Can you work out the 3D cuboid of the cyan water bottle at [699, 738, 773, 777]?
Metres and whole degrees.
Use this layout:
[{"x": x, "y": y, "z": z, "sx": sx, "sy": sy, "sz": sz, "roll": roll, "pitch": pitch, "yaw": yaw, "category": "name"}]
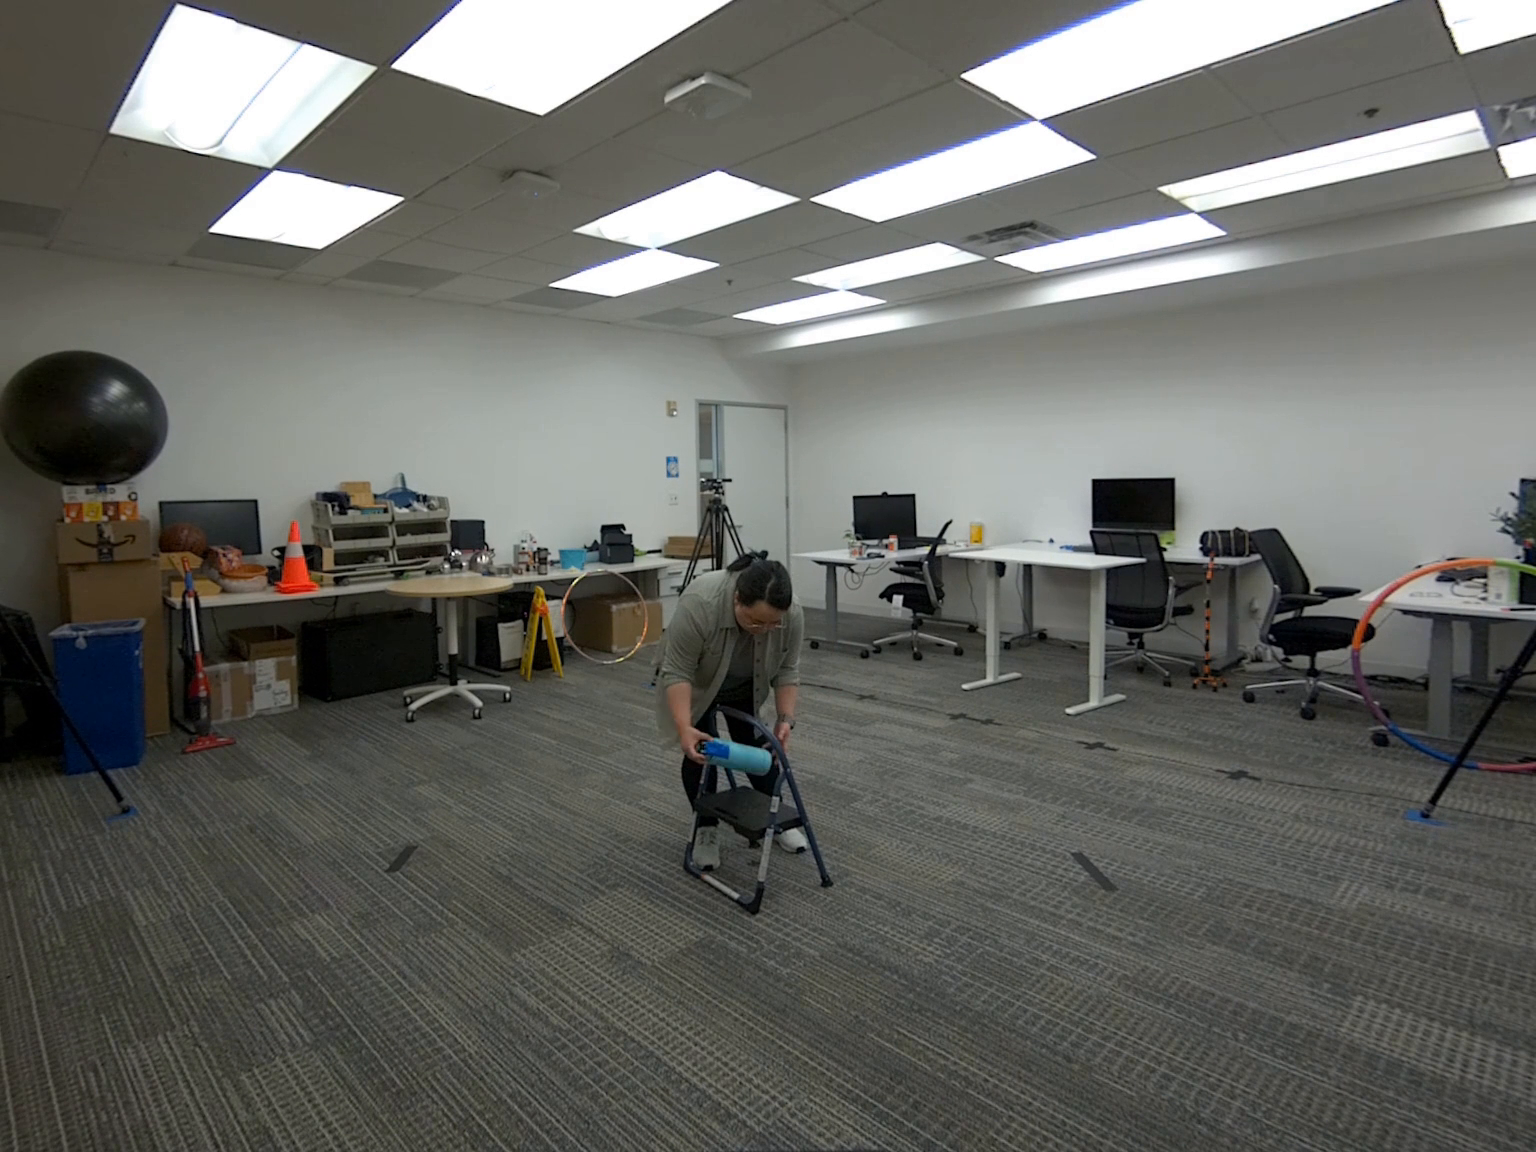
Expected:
[{"x": -0.128, "y": 0.610, "z": 2.926, "sx": 0.275, "sy": 0.092, "sz": 0.095, "roll": 21, "pitch": -6, "yaw": -27, "category": "cyan water bottle"}]
